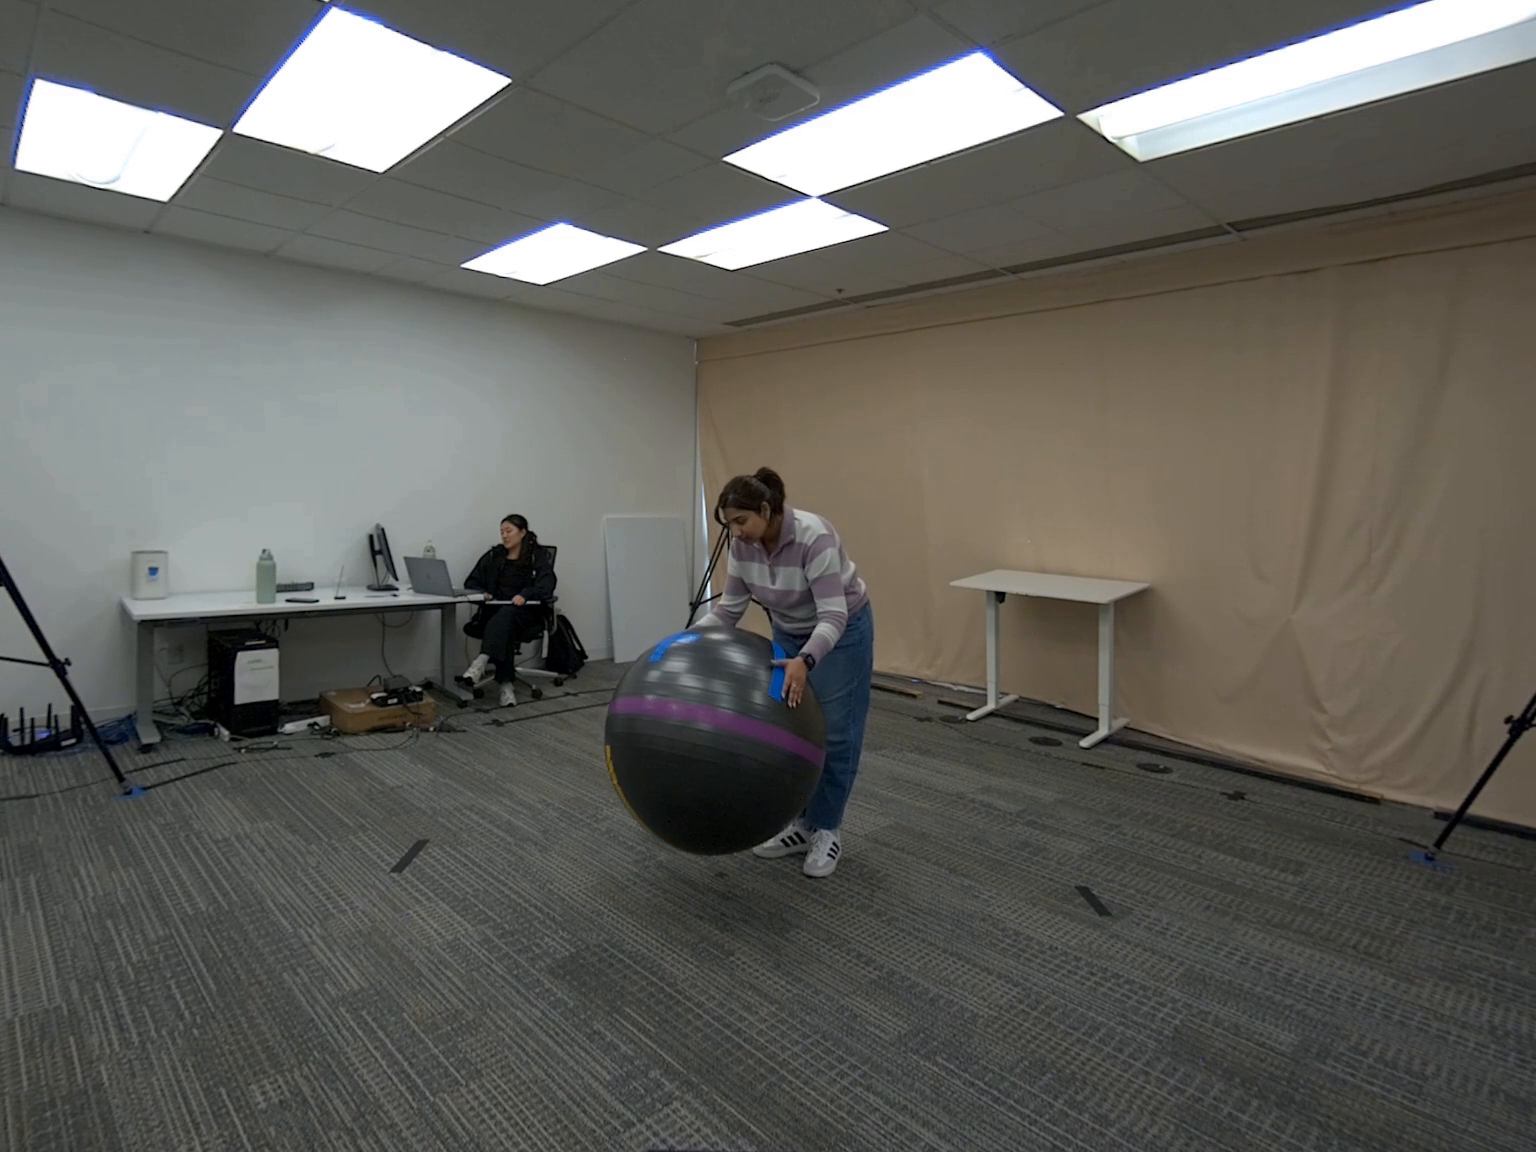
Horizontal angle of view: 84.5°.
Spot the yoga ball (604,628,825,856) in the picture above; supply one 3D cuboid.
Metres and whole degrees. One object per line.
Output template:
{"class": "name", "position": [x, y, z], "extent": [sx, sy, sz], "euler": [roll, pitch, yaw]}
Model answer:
{"class": "yoga ball", "position": [-0.187, 0.561, 2.890], "extent": [0.757, 0.756, 0.761], "euler": [1, 4, -1]}
